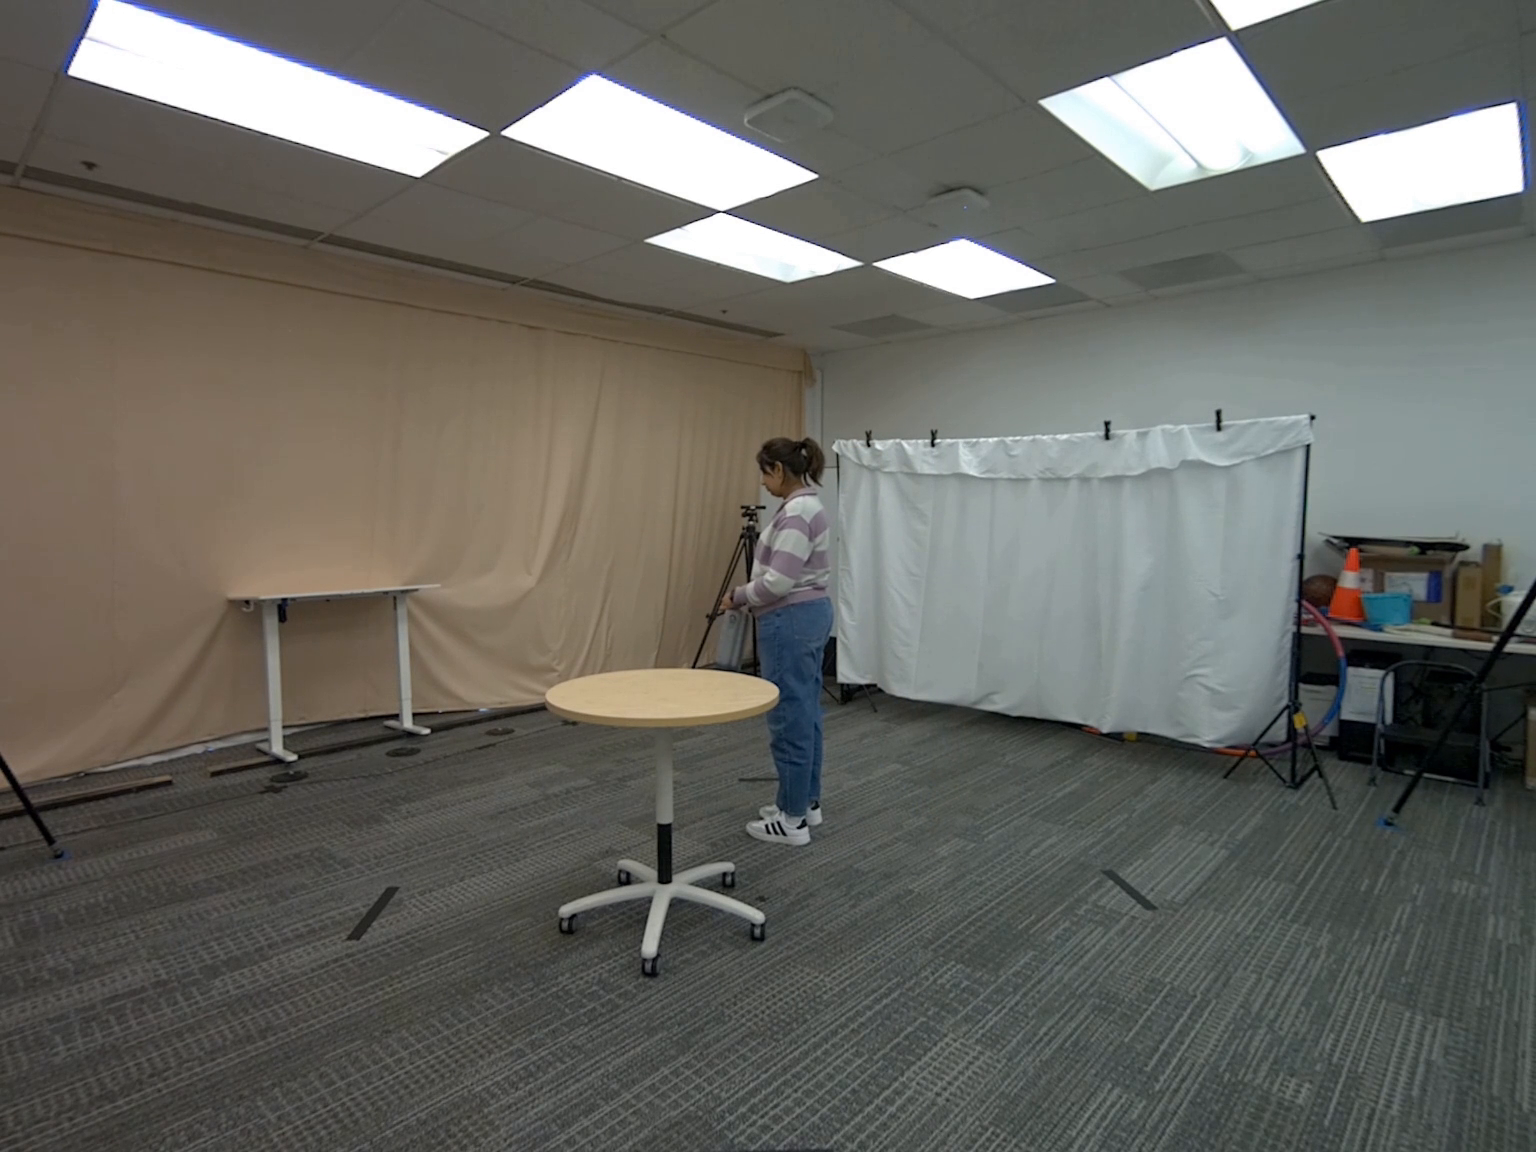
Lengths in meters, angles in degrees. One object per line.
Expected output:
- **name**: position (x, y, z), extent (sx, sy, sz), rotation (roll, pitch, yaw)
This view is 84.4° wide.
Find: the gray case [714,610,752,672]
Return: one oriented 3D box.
- **gray case**: position (-0.158, 0.272, 3.666), extent (0.104, 0.261, 0.255), rotation (10, -8, 0)
